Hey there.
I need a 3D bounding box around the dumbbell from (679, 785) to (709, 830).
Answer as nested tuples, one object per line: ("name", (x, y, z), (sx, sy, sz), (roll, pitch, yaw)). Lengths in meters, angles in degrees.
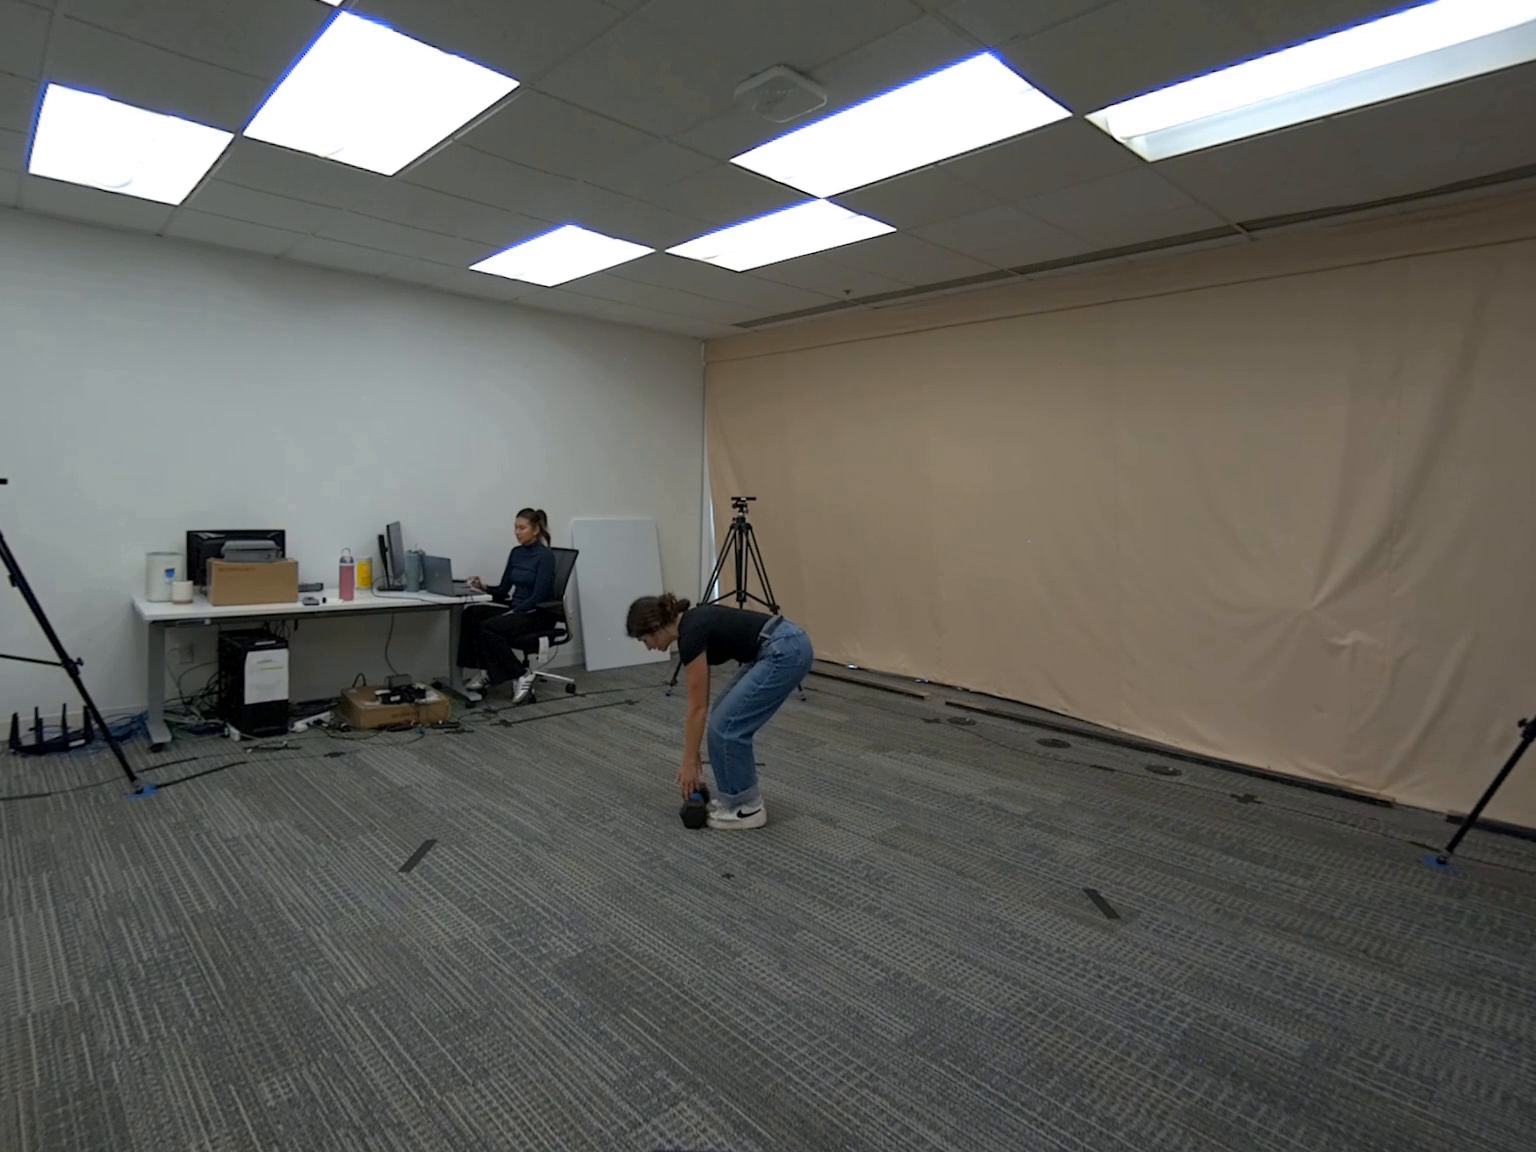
("dumbbell", (-0.329, 0.989, 3.676), (0.108, 0.123, 0.294), (32, 4, -4))
